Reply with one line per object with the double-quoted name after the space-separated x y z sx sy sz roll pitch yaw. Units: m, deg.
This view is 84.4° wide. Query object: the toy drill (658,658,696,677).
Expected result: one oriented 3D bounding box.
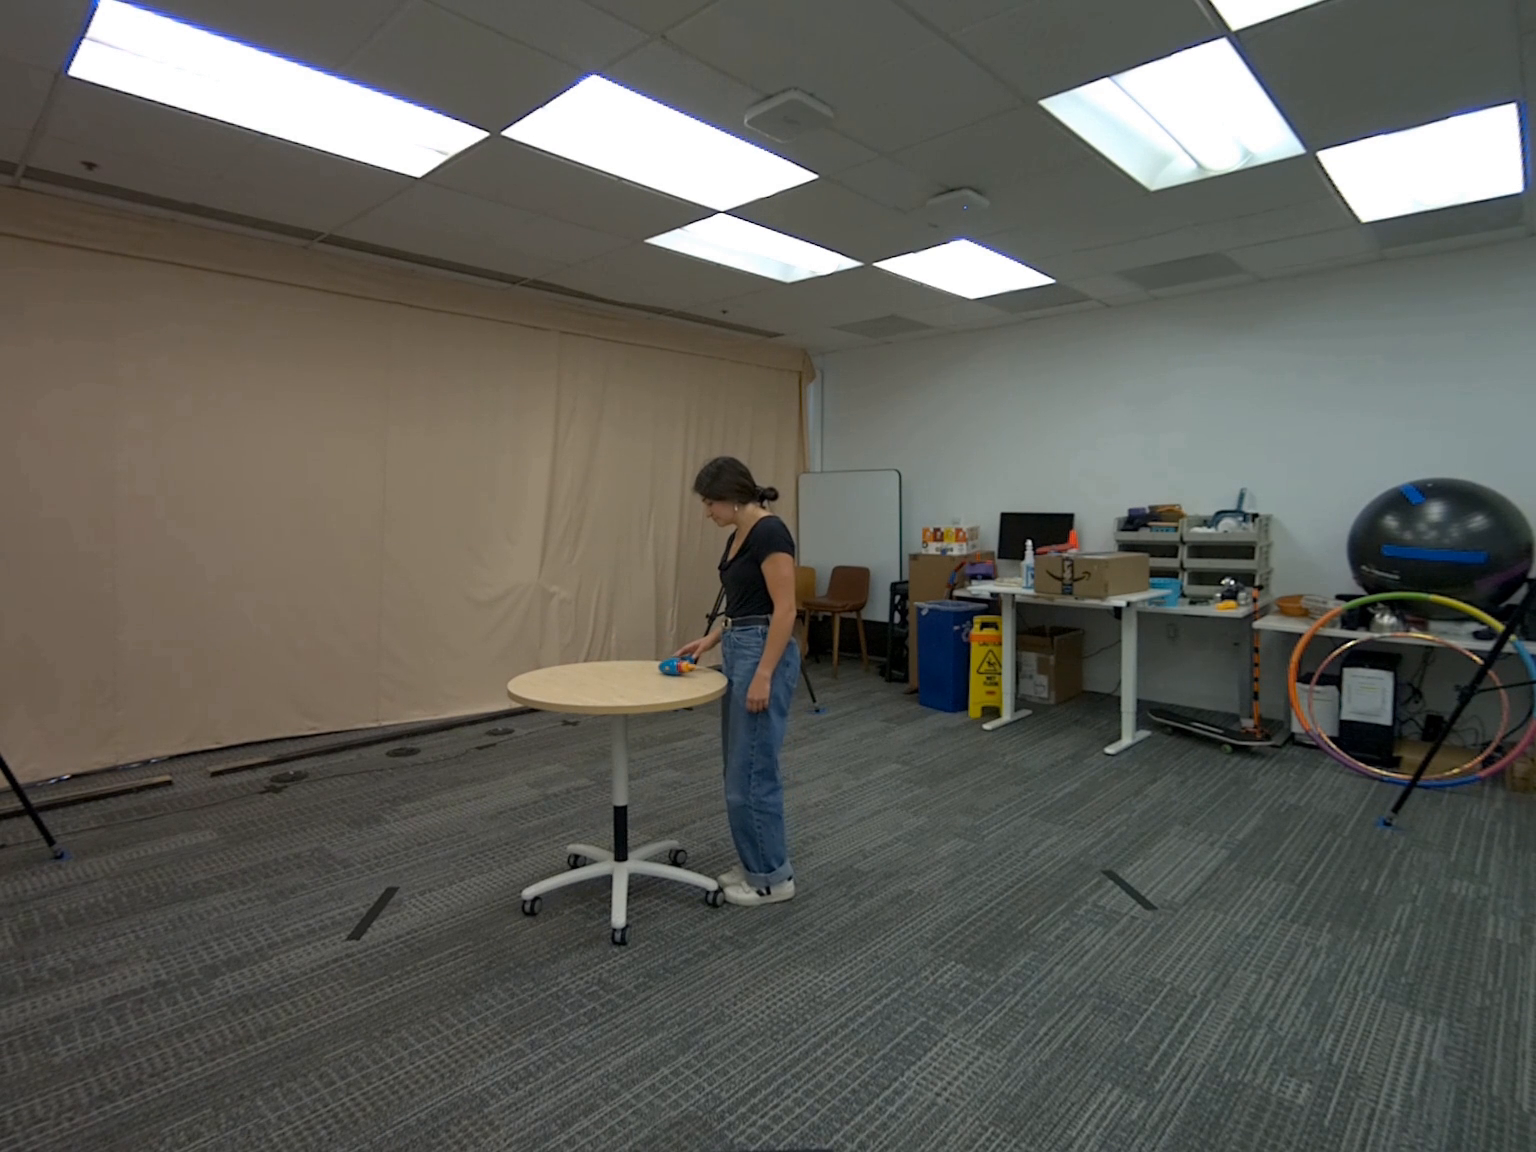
-0.300 0.332 3.081 0.174 0.061 0.141 -8 -4 34 "toy drill"
